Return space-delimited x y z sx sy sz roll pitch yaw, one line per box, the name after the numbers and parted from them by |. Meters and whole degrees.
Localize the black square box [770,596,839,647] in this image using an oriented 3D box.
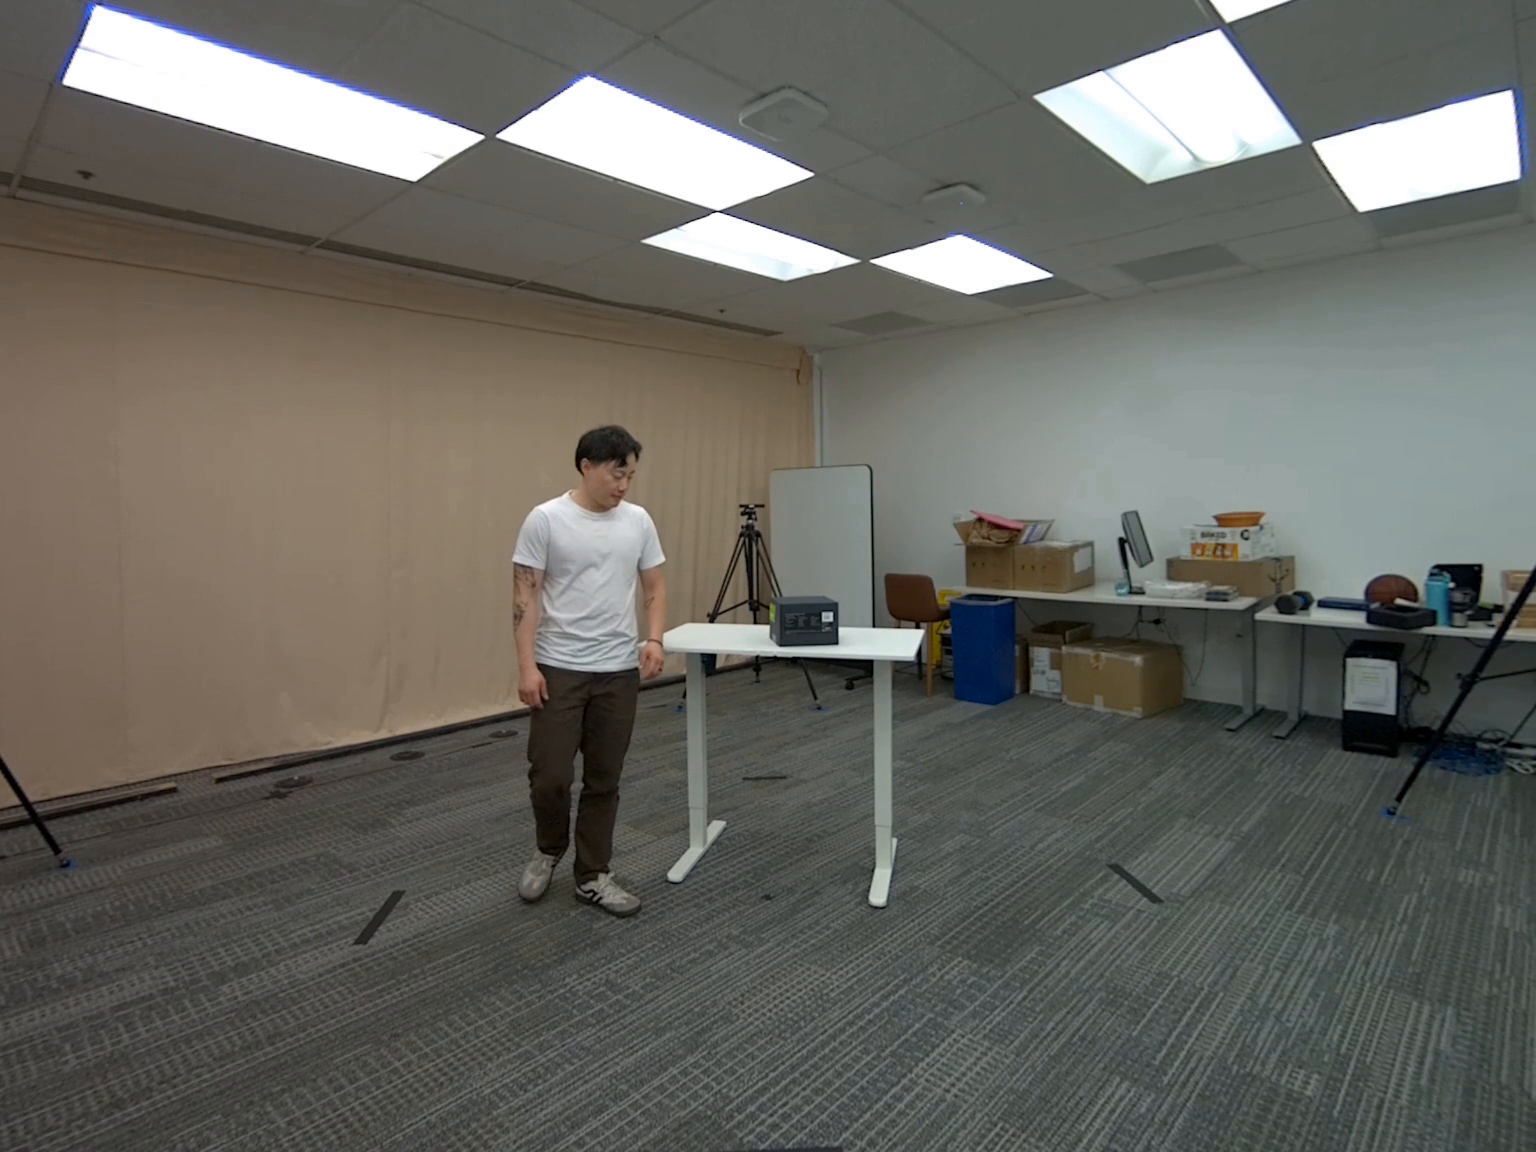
0.131 0.166 3.126 0.216 0.155 0.229 0 5 -4 | black square box
